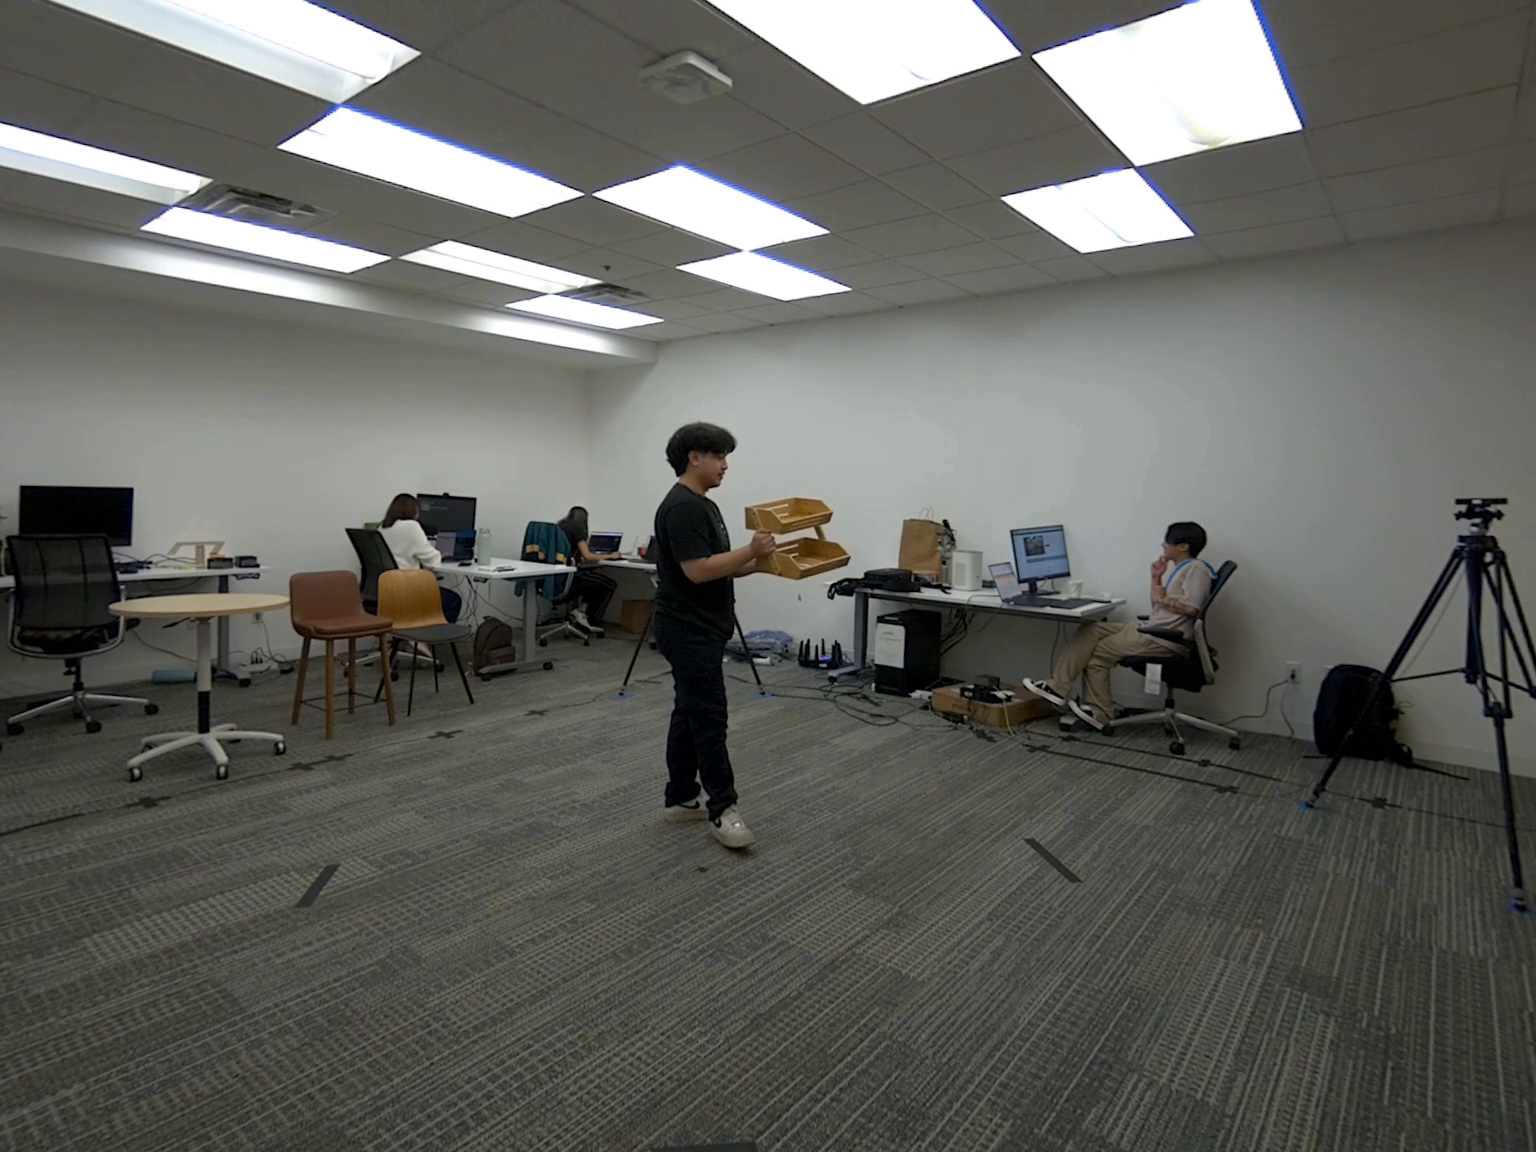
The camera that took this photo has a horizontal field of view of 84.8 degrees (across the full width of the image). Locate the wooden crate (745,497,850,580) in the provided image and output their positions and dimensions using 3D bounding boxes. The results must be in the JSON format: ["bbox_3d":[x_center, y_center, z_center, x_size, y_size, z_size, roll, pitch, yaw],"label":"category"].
[{"bbox_3d":[0.114,-0.164,3.440,0.317,0.270,0.313,-15,18,-42],"label":"wooden crate"}]
